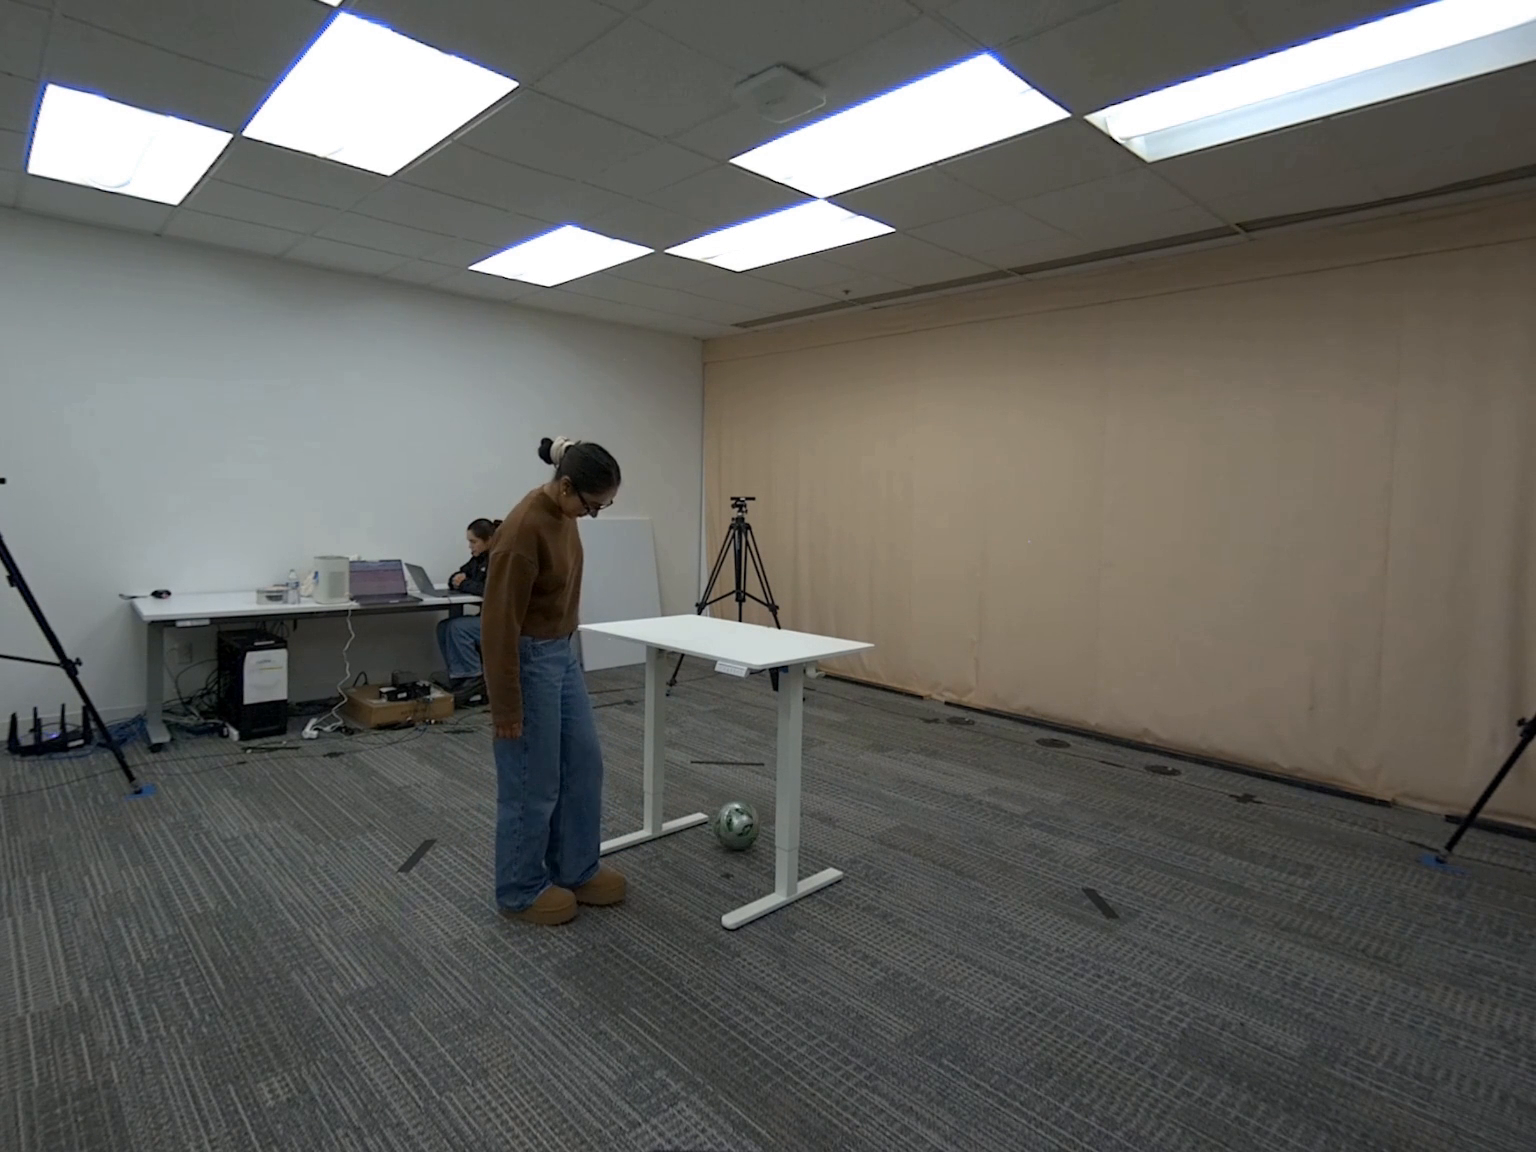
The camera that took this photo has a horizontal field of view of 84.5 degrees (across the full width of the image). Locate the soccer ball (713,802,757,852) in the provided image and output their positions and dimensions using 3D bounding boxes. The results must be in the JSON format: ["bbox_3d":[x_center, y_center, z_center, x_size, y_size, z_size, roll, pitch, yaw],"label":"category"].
[{"bbox_3d":[-0.129,0.995,3.348,0.187,0.187,0.188,1,4,-1],"label":"soccer ball"}]
